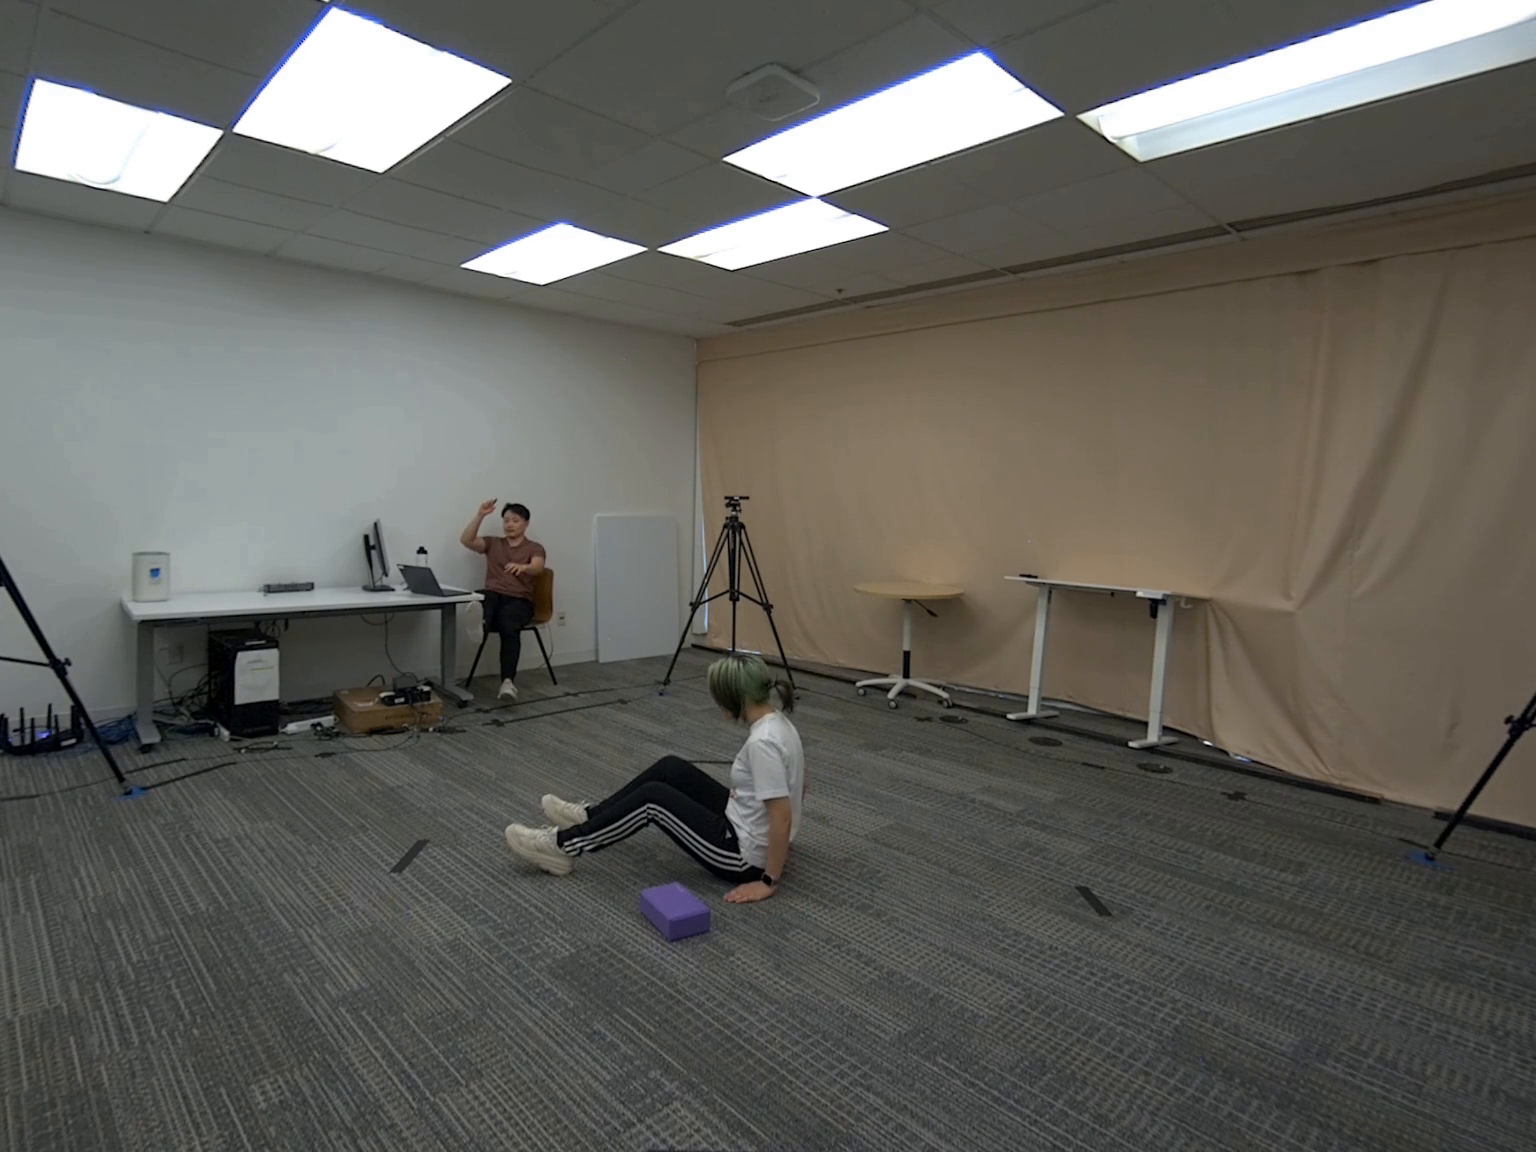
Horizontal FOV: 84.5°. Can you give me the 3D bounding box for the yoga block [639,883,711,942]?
[{"bbox_3d":[-0.321,1.096,2.749,0.146,0.076,0.235,-3,7,-32],"label":"yoga block"}]
